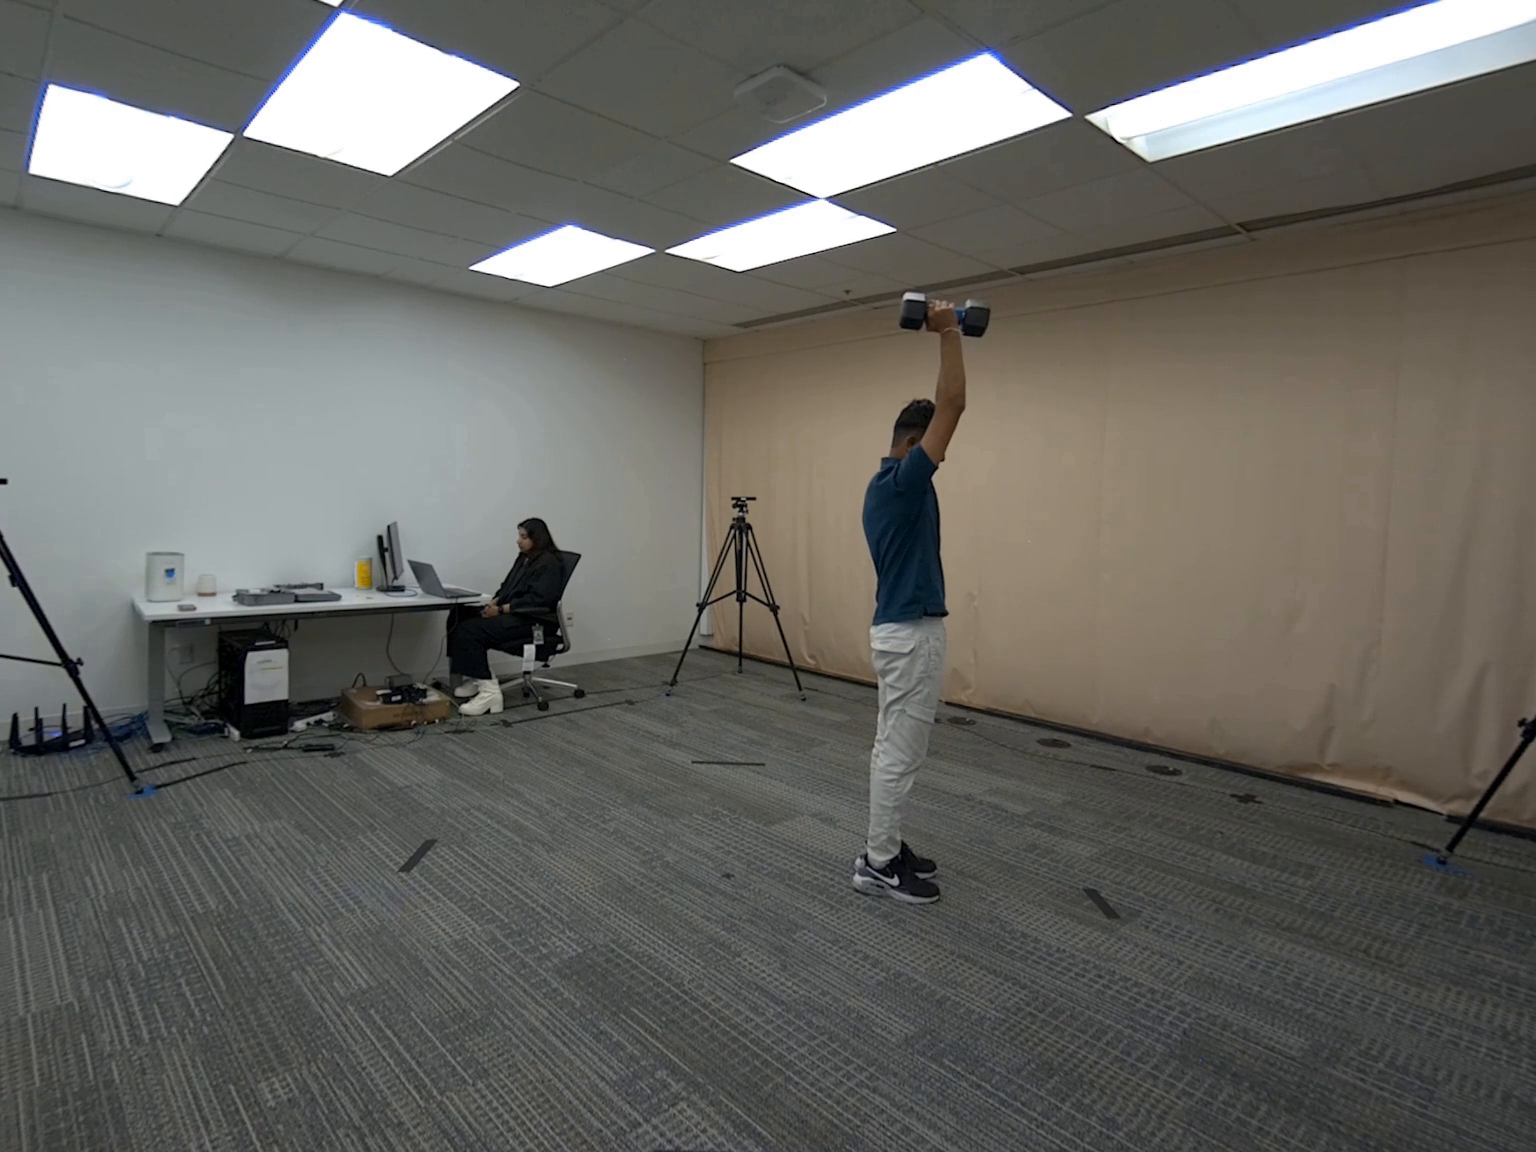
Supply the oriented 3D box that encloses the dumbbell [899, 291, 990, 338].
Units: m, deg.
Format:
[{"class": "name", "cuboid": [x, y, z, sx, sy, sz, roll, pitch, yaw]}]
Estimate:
[{"class": "dumbbell", "cuboid": [0.597, -0.895, 2.876, 0.295, 0.109, 0.121, 10, -14, 4]}]
